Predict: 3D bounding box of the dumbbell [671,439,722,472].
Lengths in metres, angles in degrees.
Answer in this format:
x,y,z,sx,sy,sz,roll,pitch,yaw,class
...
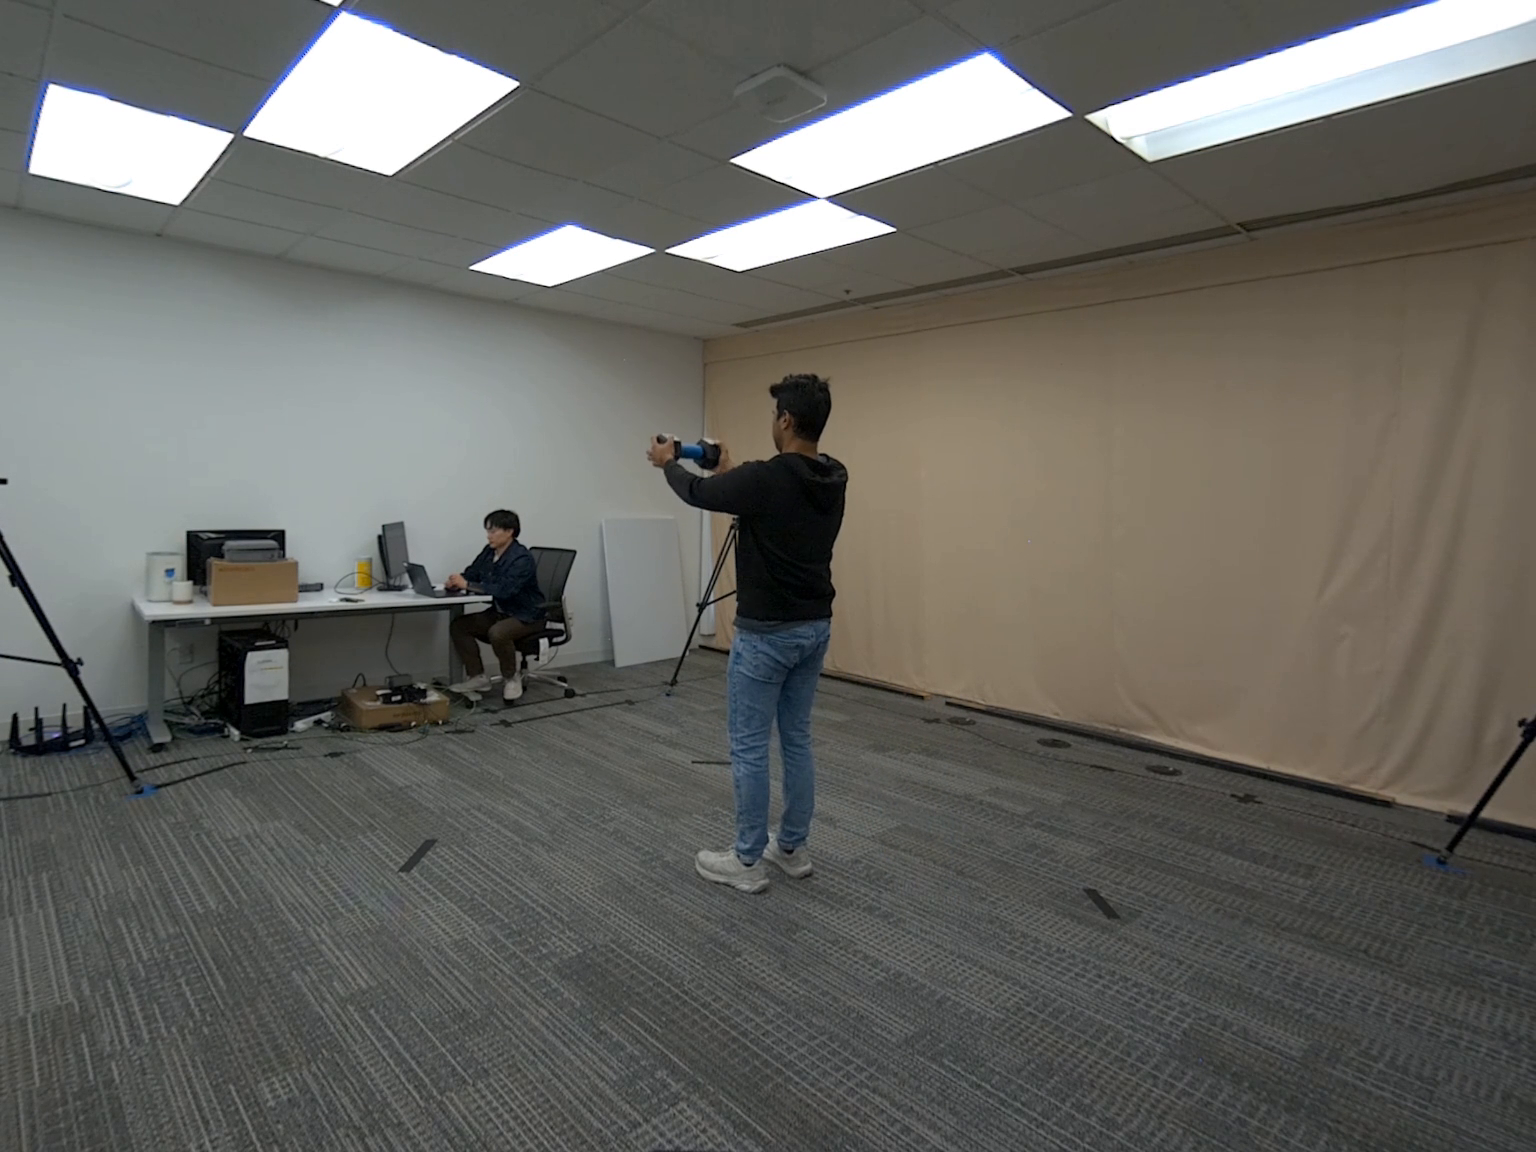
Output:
x,y,z,sx,sy,sz,roll,pitch,yaw,class
-0.326,-0.512,3.355,0.287,0.123,0.111,-3,0,-44,dumbbell
